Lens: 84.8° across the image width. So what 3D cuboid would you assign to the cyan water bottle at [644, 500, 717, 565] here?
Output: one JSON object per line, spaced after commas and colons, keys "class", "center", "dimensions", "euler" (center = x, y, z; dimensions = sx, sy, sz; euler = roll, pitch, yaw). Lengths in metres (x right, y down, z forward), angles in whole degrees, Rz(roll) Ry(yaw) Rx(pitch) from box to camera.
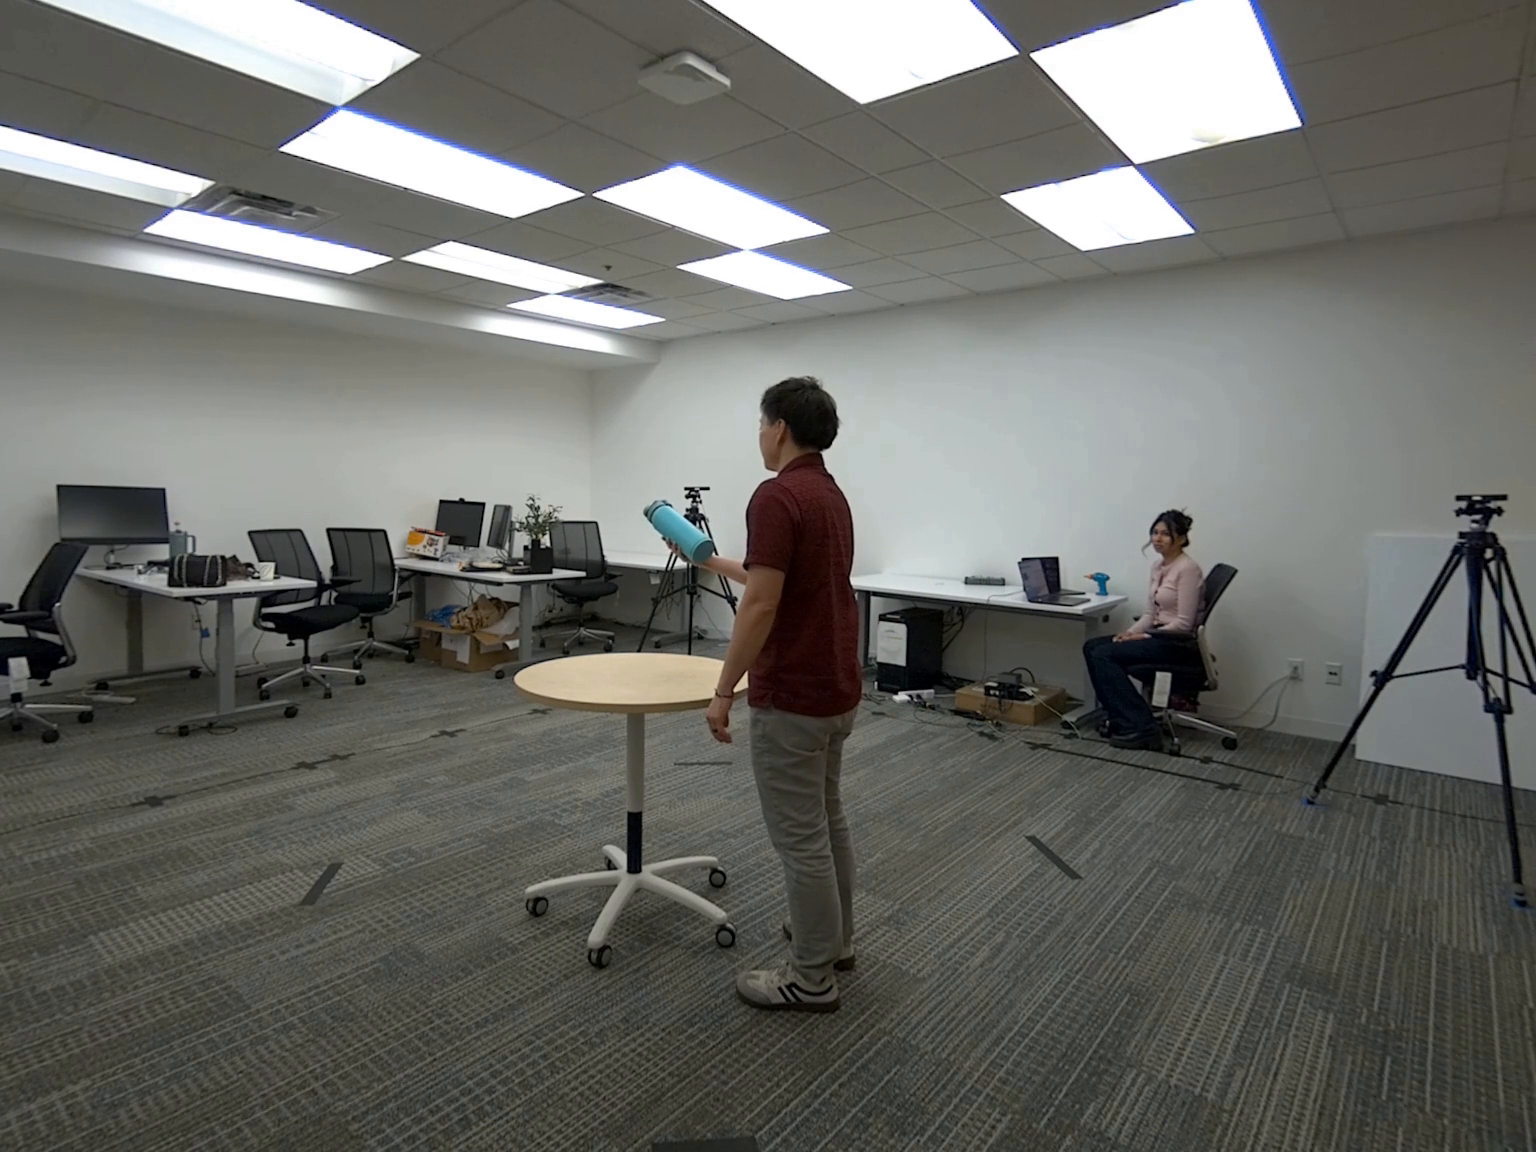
{"class": "cyan water bottle", "center": [-0.298, -0.147, 2.700], "dimensions": [0.089, 0.091, 0.295], "euler": [-3, 34, -47]}
